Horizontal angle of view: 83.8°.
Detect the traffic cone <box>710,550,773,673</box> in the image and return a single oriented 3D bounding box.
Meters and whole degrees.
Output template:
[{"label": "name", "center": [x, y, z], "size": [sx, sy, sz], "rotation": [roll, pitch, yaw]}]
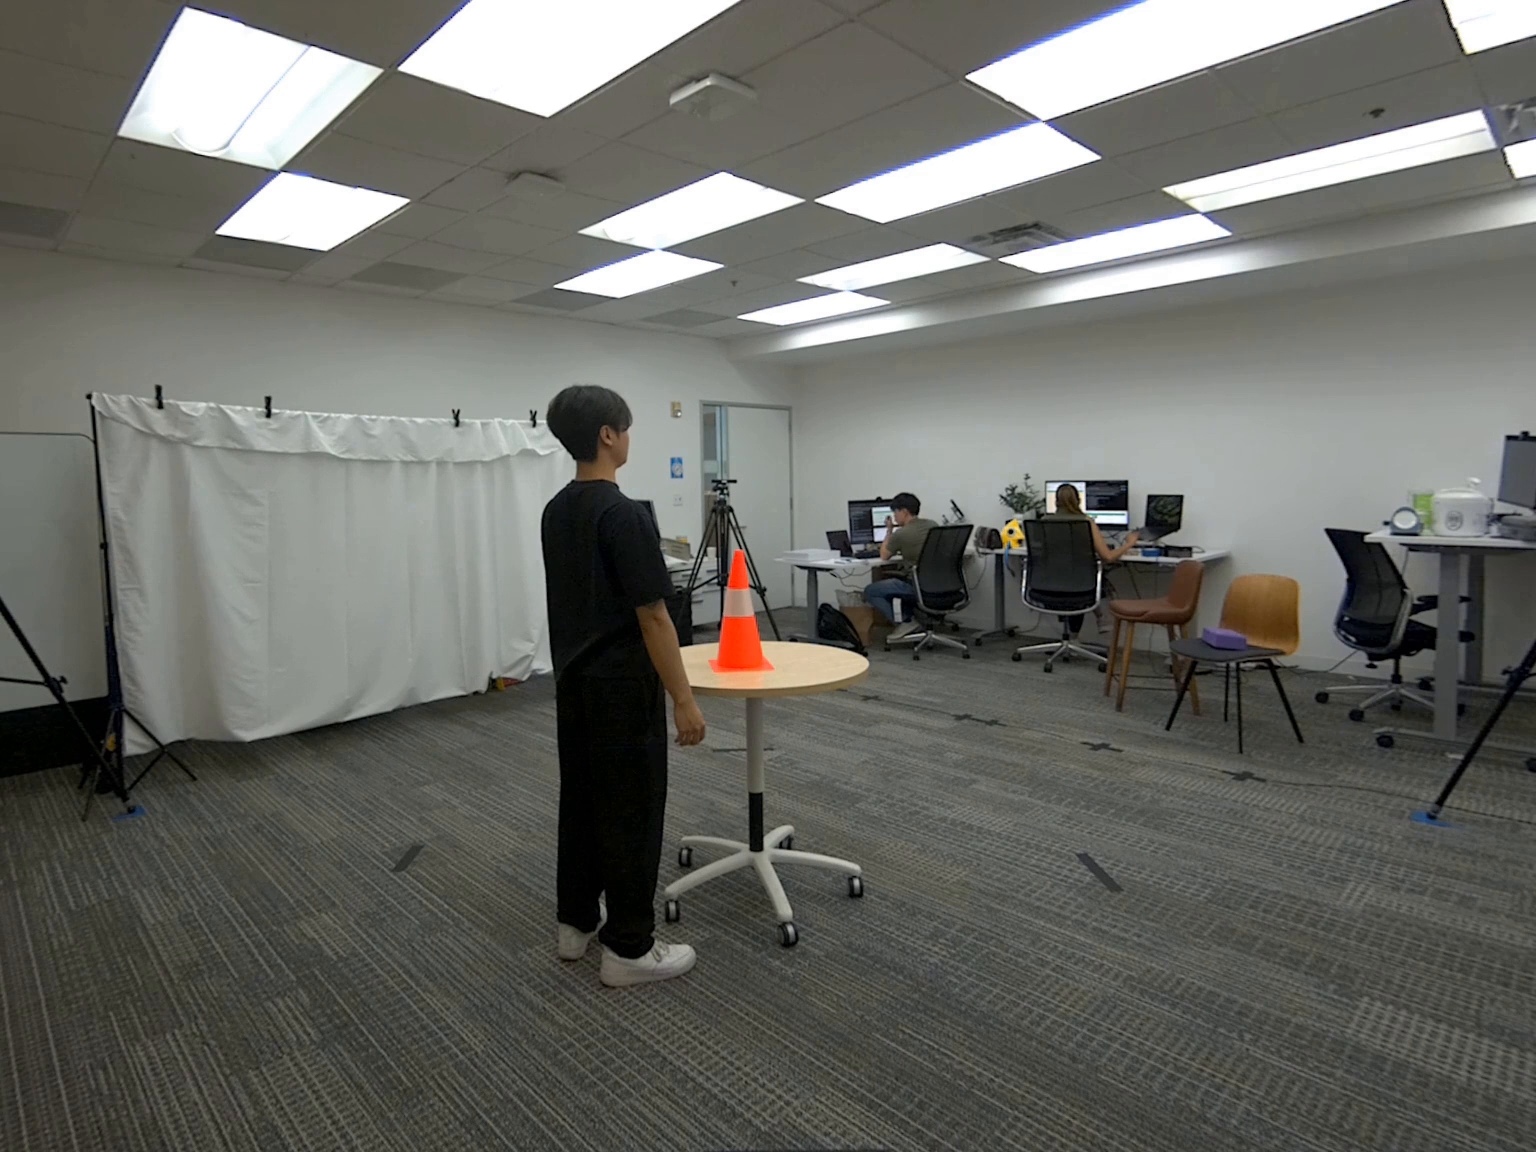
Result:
[{"label": "traffic cone", "center": [-0.095, 0.107, 2.821], "size": [0.201, 0.383, 0.207], "rotation": [-2, 2, -10]}]
